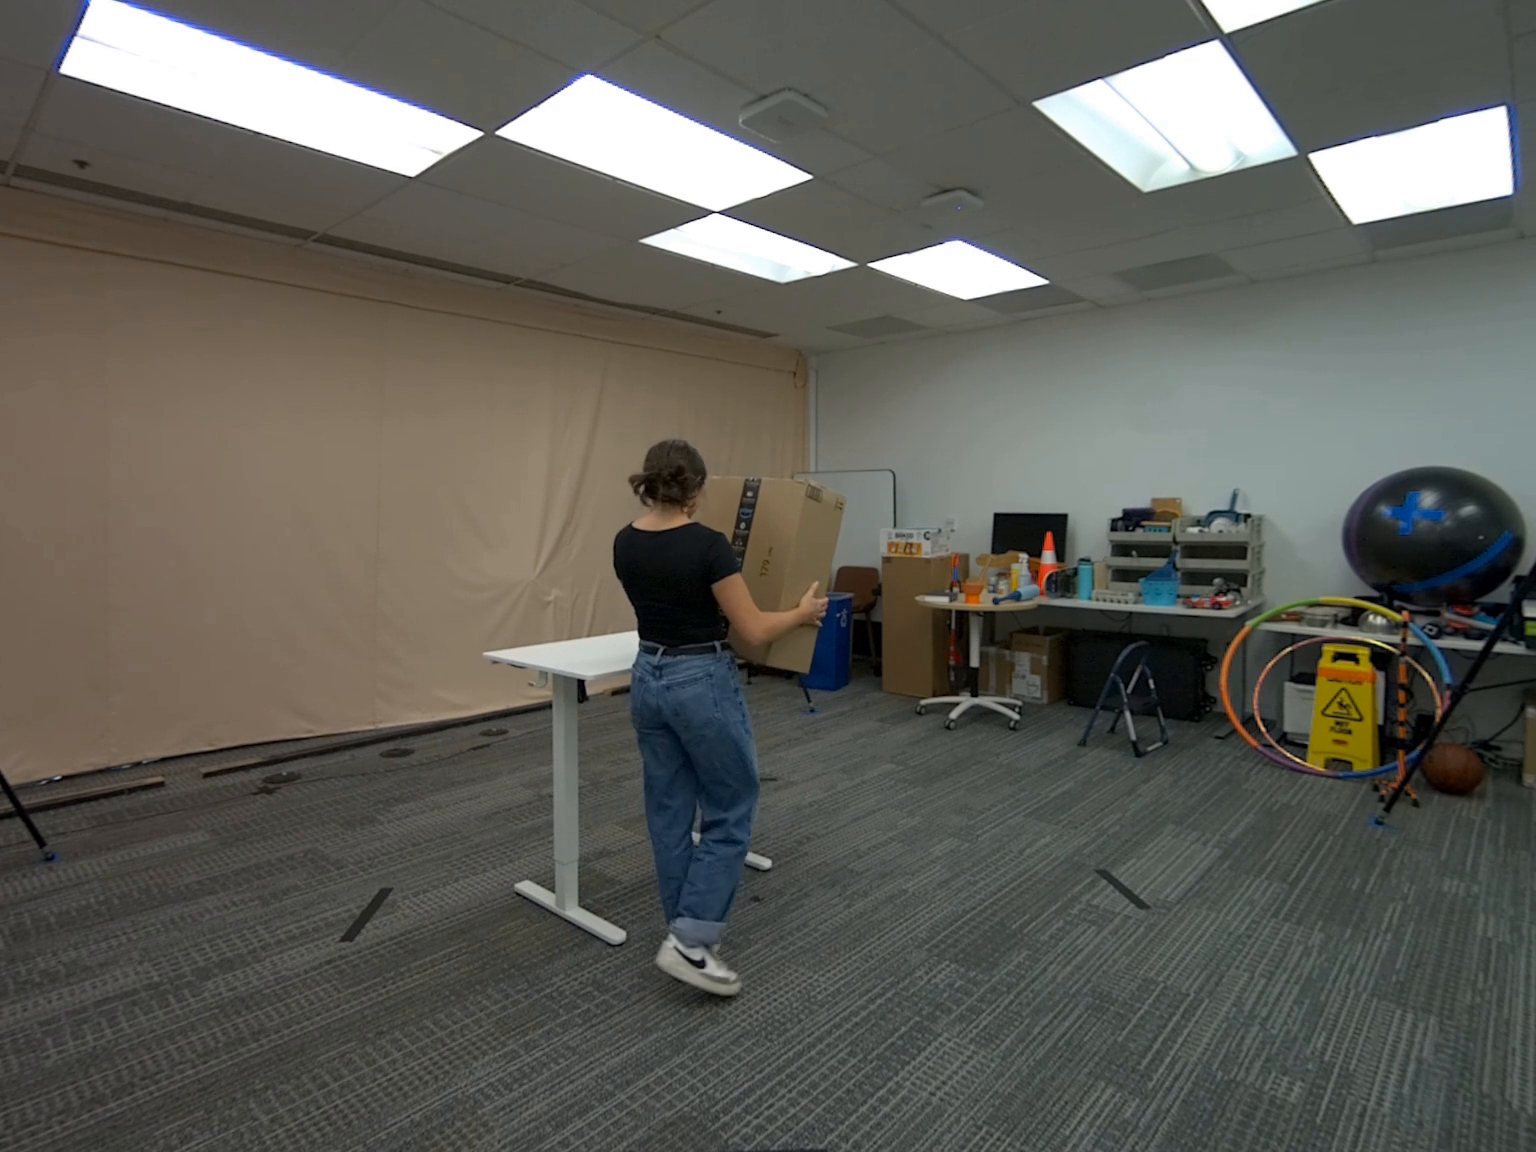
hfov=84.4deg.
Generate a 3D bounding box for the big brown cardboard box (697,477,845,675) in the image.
[{"bbox_3d":[-0.032,-0.021,2.698,0.432,0.590,0.225,8,-7,41],"label":"big brown cardboard box"}]
